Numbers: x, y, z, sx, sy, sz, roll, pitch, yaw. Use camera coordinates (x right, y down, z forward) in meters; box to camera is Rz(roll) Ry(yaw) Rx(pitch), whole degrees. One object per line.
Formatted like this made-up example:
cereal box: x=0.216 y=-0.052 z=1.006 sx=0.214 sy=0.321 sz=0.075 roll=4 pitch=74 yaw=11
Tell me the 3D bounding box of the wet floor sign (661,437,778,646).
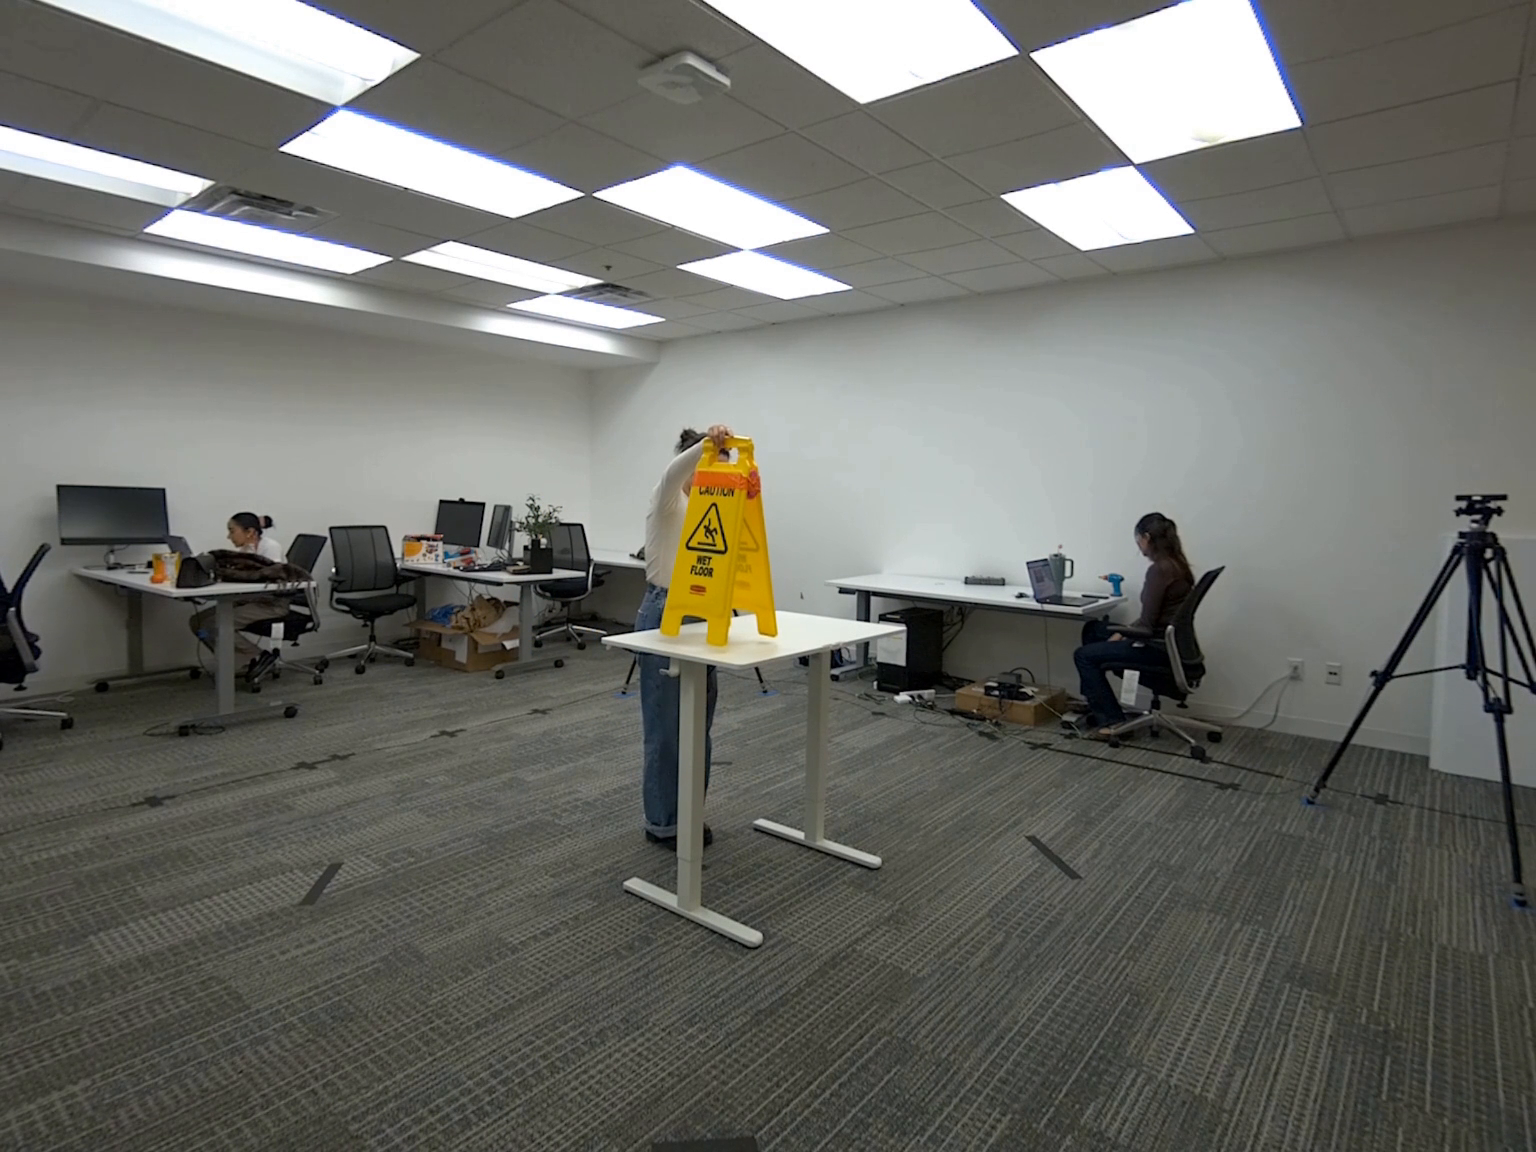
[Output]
wet floor sign: x=-0.153 y=-0.128 z=2.760 sx=0.292 sy=0.643 sz=0.281 roll=5 pitch=6 yaw=39
